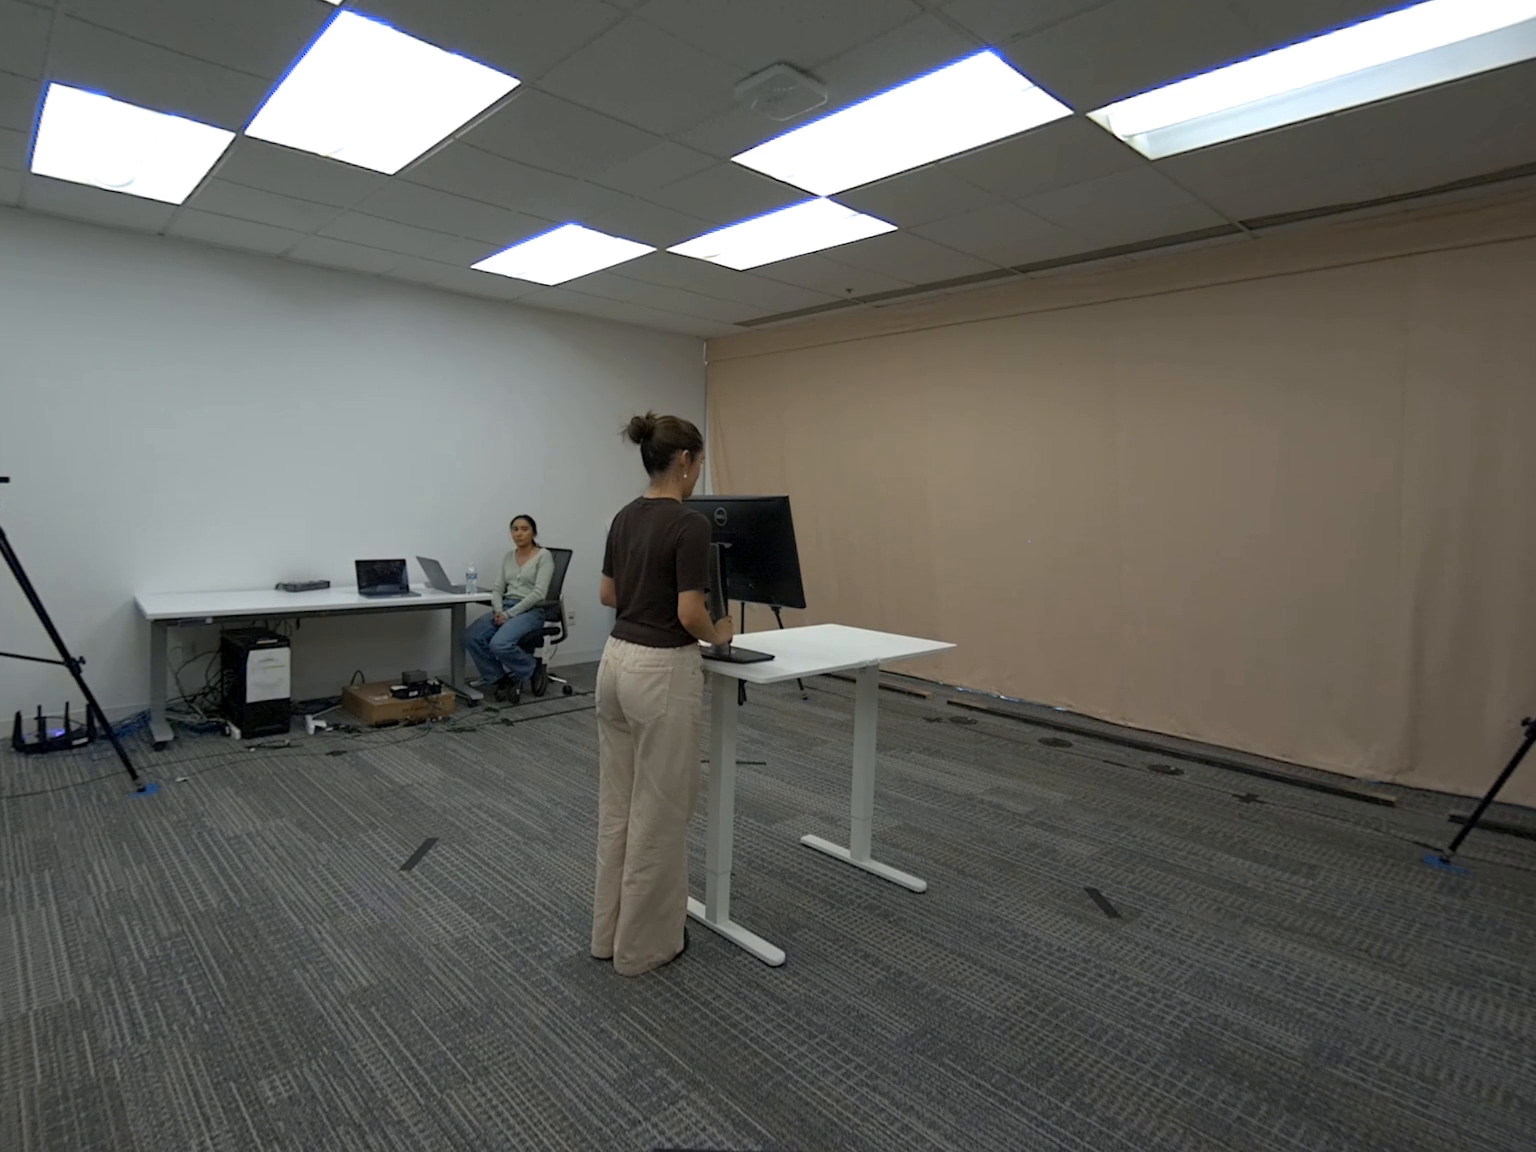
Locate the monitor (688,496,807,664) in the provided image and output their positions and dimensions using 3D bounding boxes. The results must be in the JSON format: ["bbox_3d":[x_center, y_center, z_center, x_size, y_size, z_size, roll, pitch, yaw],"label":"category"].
[{"bbox_3d":[-0.123,0.001,2.675,0.543,0.516,0.170,3,1,44],"label":"monitor"}]
